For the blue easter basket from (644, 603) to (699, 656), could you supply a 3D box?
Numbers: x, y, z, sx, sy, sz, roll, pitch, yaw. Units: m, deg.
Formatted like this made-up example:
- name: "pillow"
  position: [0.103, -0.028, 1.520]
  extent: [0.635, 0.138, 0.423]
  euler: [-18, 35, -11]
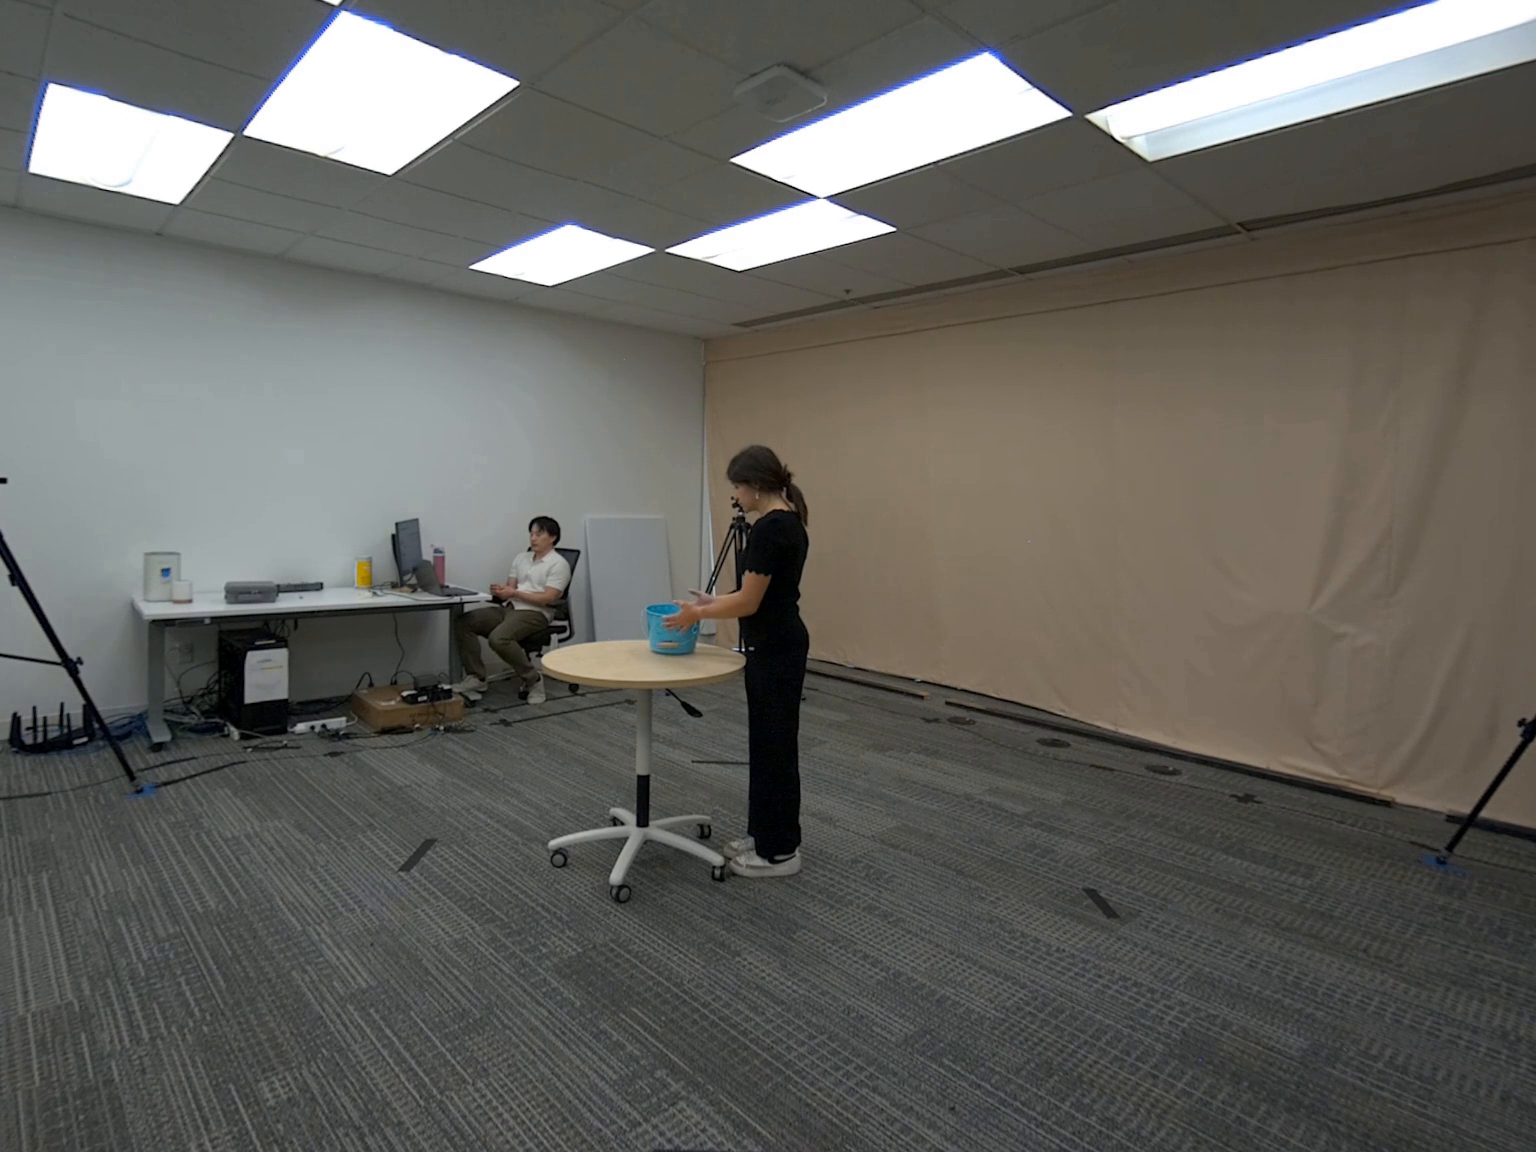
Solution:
- name: "blue easter basket"
  position: [-0.384, 0.210, 3.274]
  extent: [0.243, 0.155, 0.244]
  euler: [2, 5, -2]
